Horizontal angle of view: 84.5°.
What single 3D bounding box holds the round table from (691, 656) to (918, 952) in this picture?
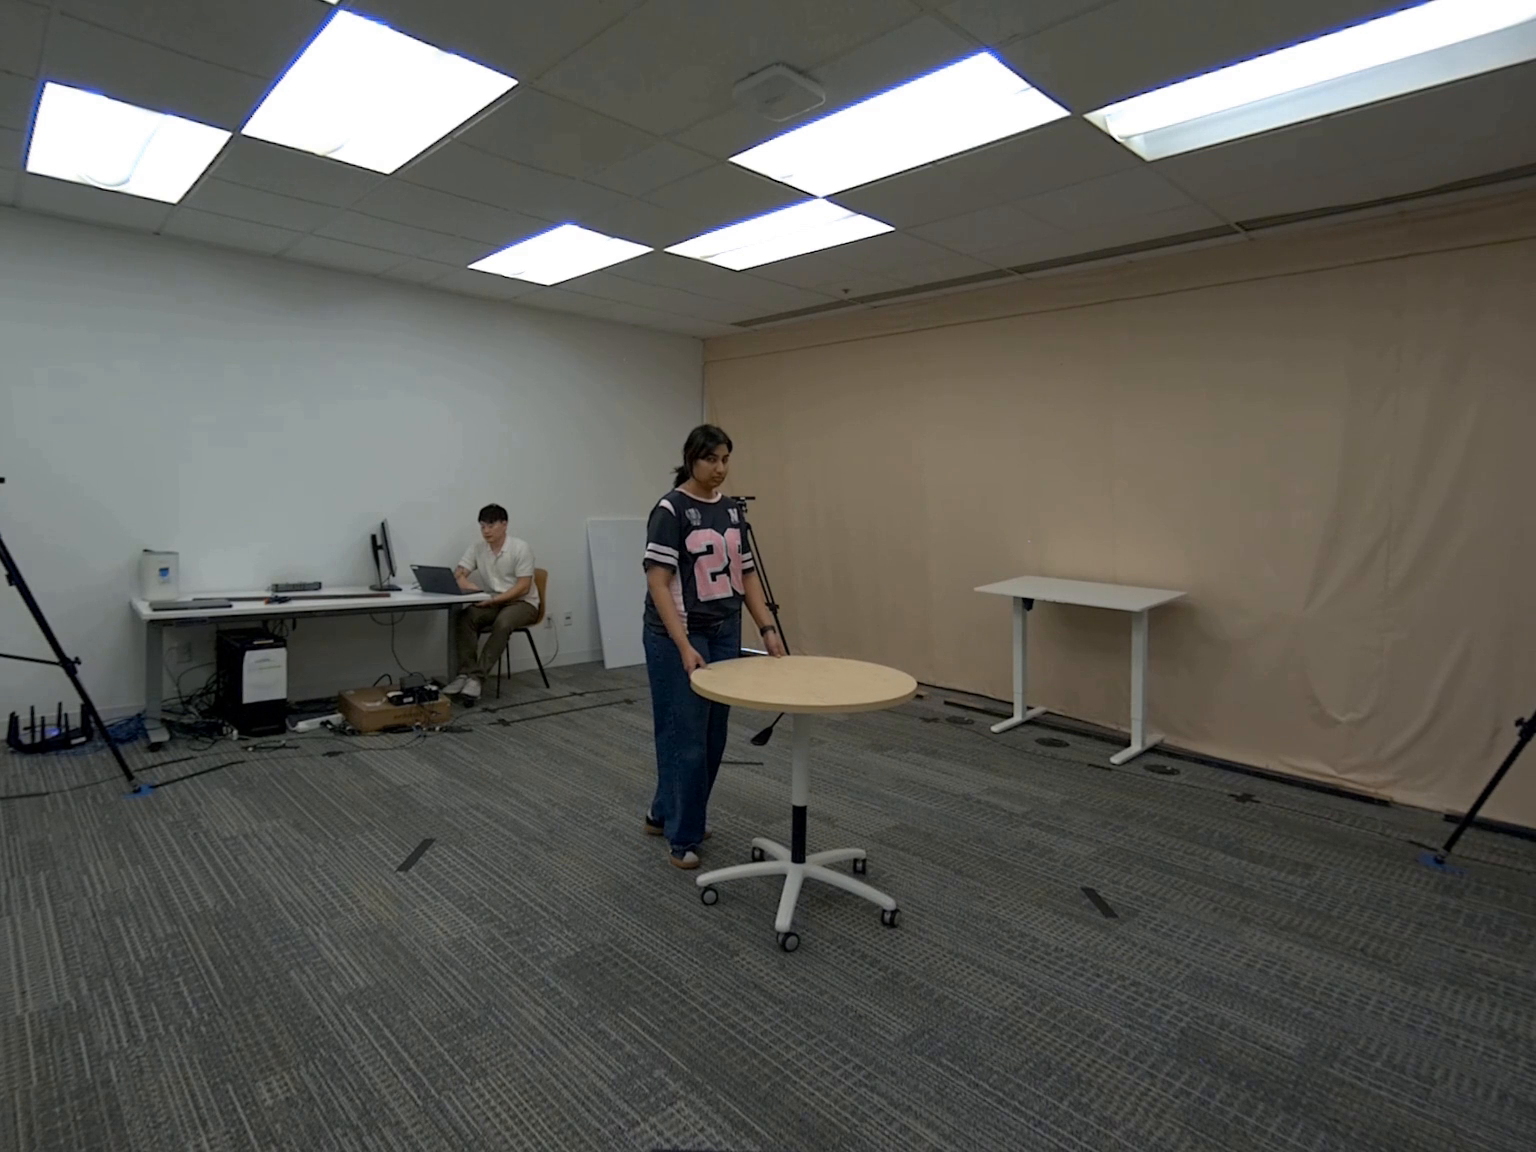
[{"bbox_3d":[0.107,0.733,2.911,0.784,0.784,0.788,1,5,-1],"label":"round table"}]
